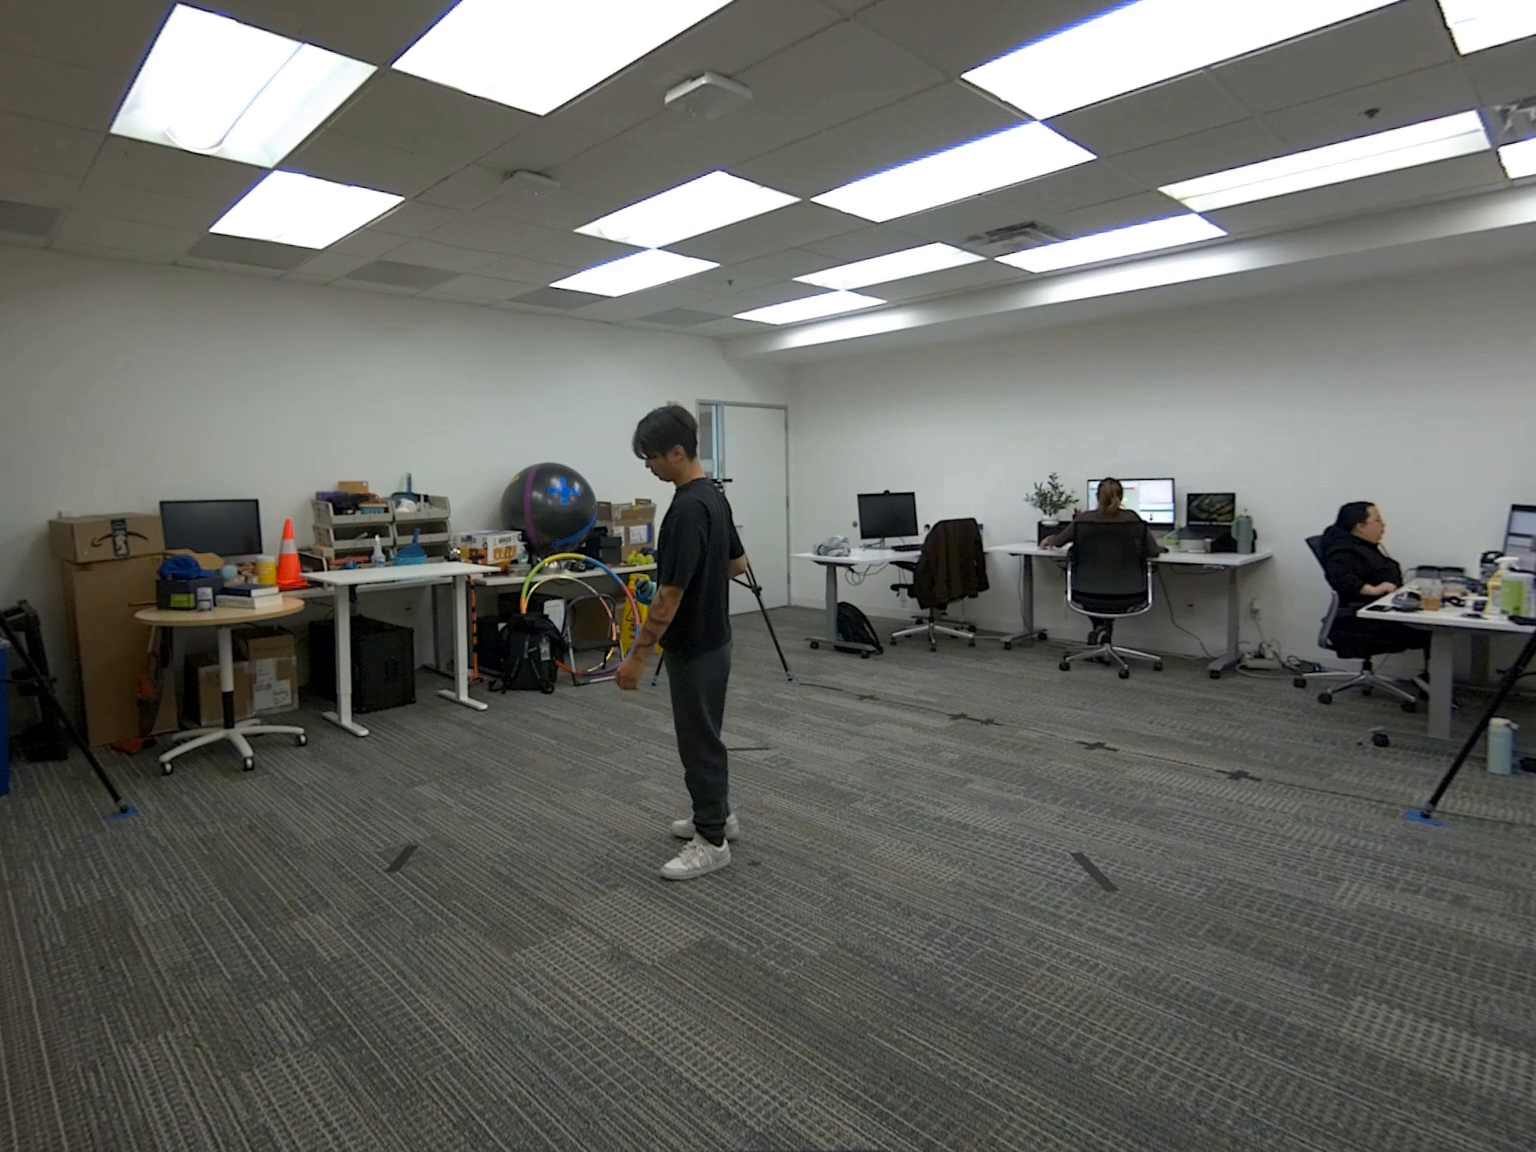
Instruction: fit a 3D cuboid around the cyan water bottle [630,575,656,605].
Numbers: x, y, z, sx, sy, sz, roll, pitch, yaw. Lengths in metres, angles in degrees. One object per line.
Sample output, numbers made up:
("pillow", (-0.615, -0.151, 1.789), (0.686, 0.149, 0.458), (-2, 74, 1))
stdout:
("cyan water bottle", (-0.395, 0.096, 3.249), (0.273, 0.093, 0.095), (32, -16, -34))
